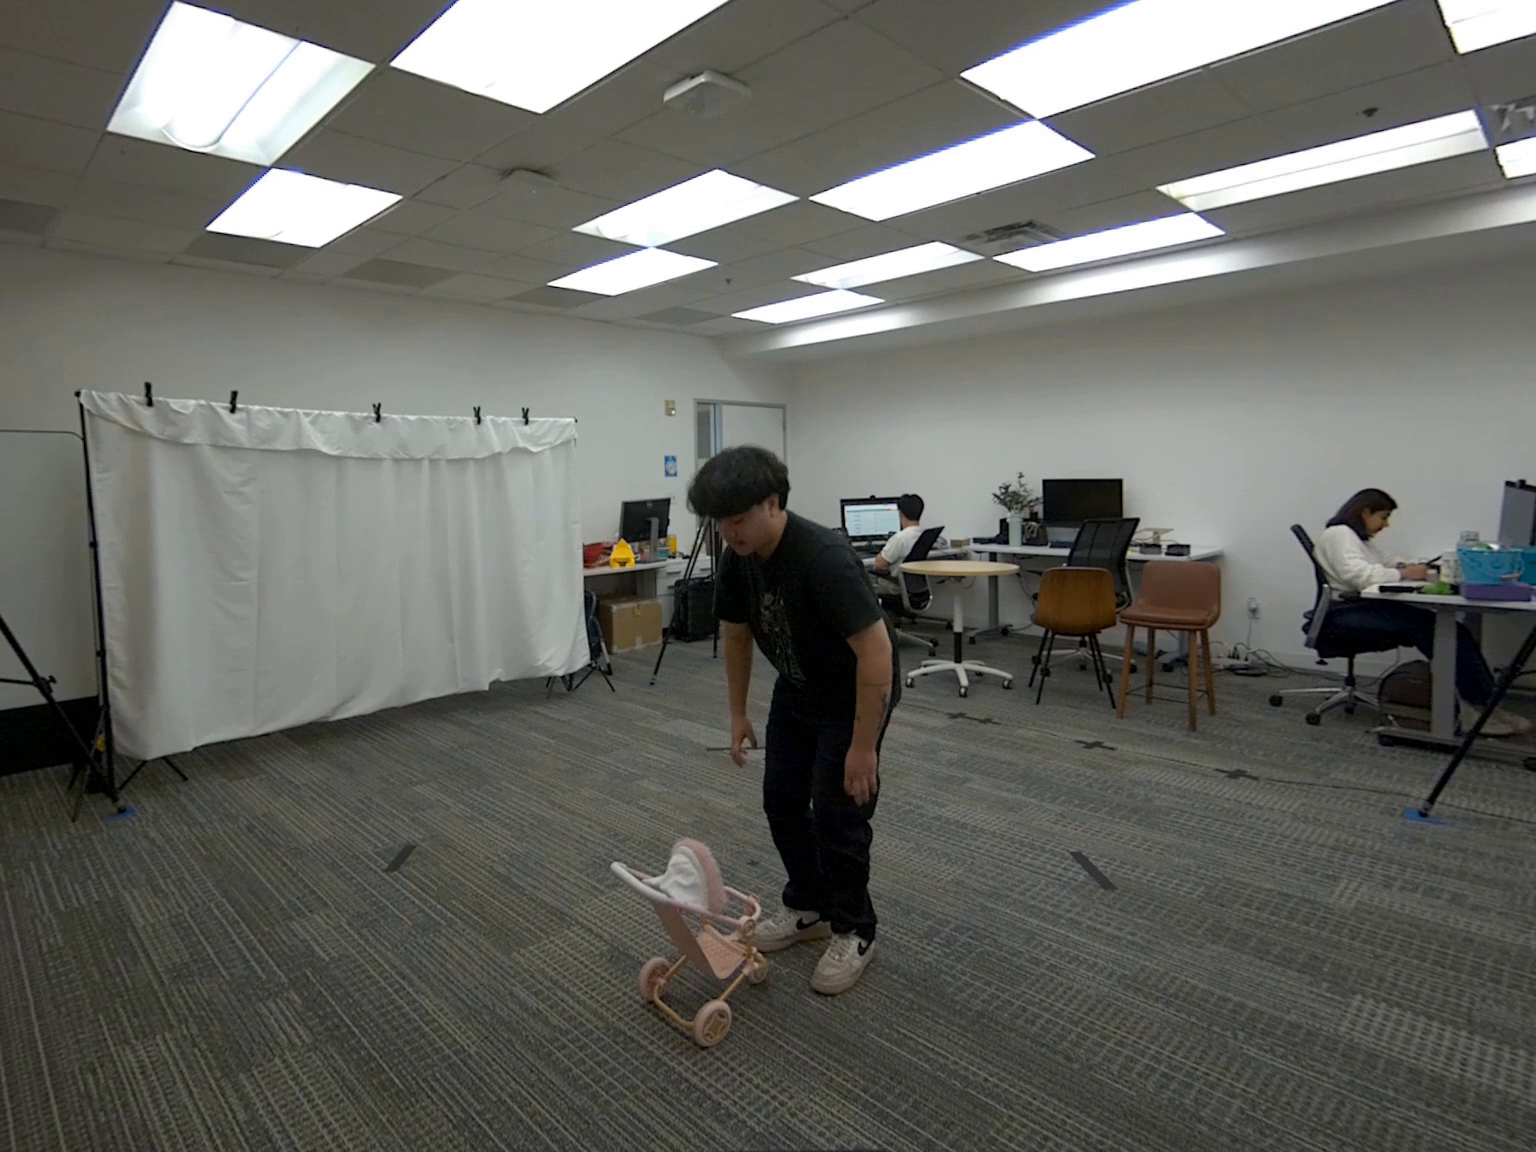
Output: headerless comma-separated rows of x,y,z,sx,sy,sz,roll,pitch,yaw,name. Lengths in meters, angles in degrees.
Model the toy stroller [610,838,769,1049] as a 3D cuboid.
-0.164,0.928,2.237,0.336,0.527,0.290,-22,16,-33,toy stroller
